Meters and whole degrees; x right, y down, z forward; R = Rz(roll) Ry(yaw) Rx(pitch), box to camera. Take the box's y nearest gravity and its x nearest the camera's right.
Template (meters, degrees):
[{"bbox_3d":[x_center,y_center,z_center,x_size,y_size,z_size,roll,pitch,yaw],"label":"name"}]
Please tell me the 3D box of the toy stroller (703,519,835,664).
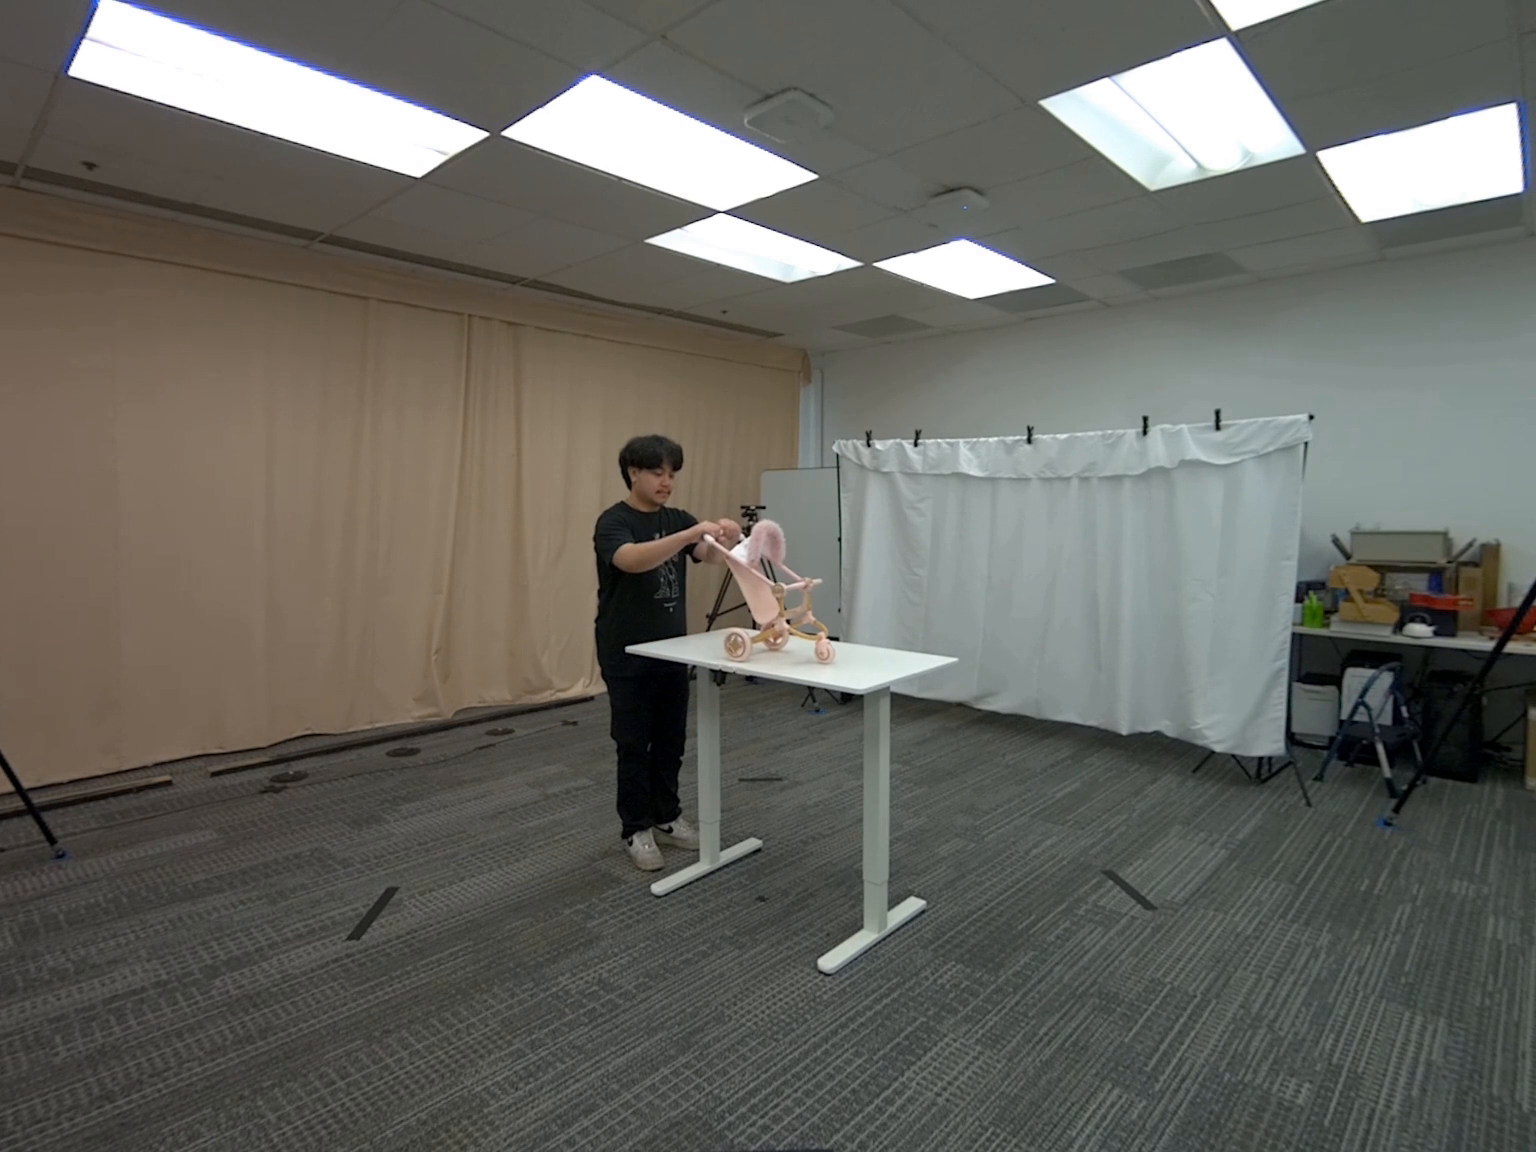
[{"bbox_3d":[0.015,0.052,2.816,0.350,0.537,0.273,-16,-6,36],"label":"toy stroller"}]
